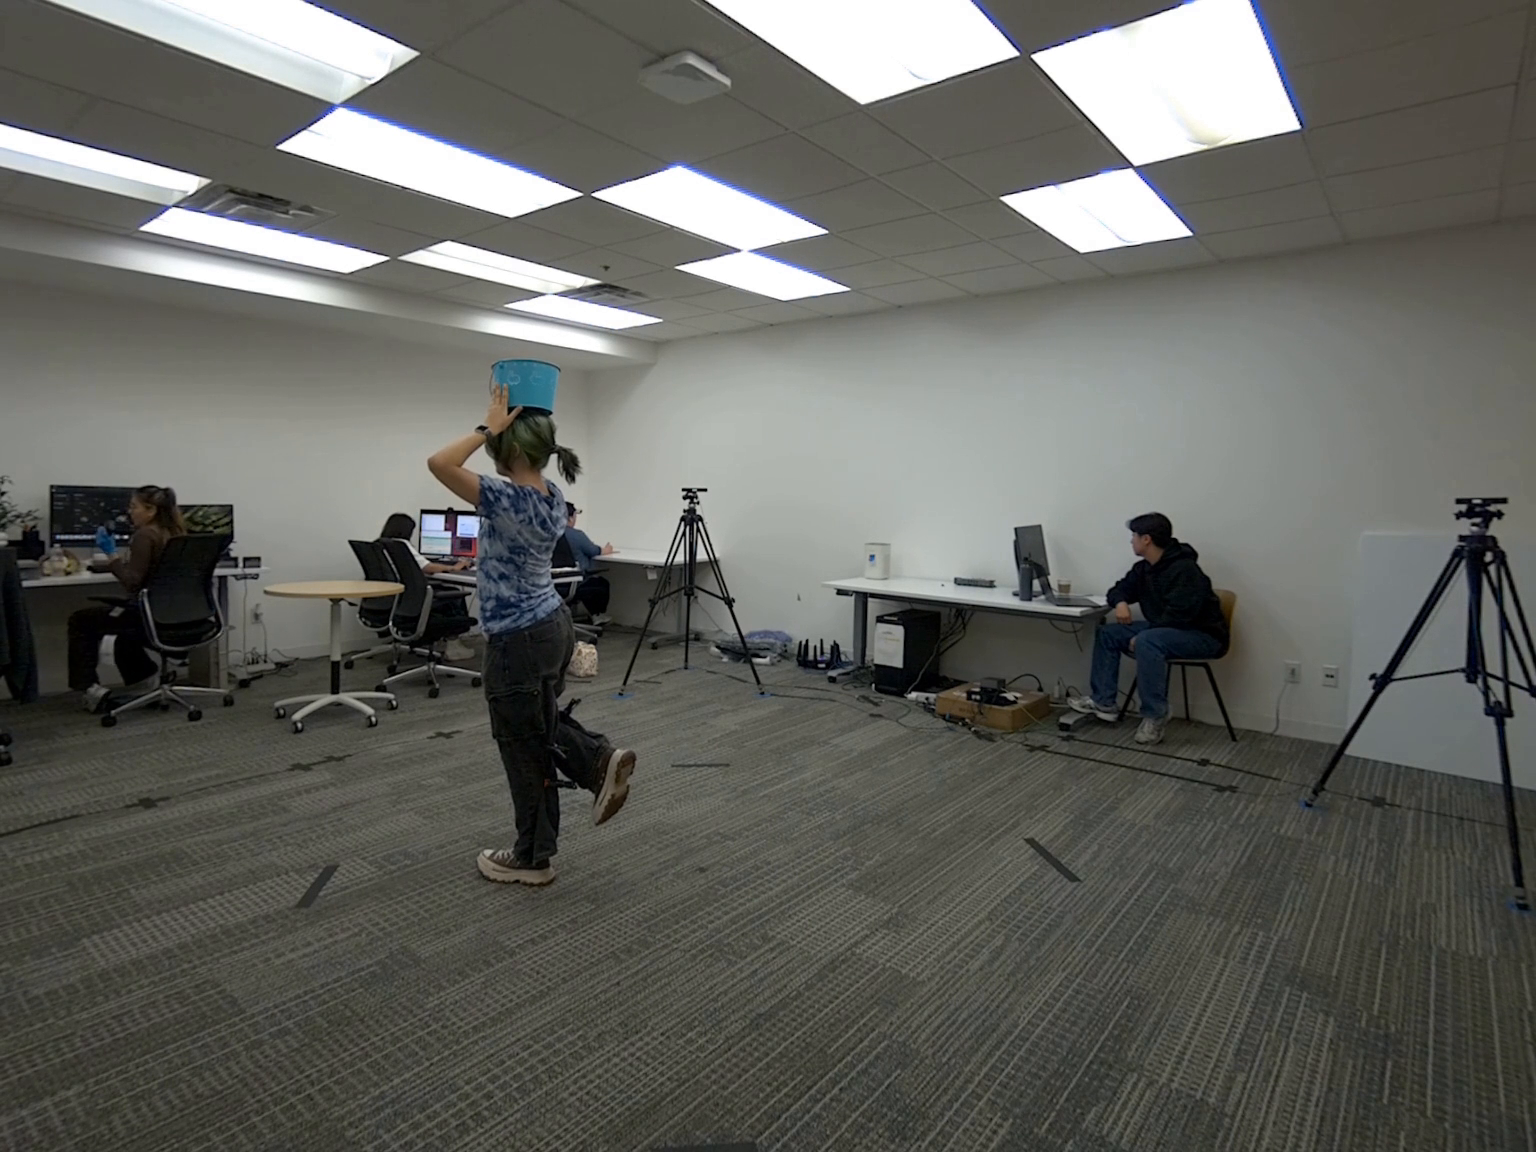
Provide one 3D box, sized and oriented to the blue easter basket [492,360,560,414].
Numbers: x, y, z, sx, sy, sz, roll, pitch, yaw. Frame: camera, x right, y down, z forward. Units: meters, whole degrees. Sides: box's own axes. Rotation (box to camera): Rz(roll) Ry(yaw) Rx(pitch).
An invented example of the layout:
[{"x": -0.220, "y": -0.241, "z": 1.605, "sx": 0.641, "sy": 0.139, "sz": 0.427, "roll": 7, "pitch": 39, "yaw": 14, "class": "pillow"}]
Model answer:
[{"x": -0.840, "y": -0.625, "z": 2.888, "sx": 0.243, "sy": 0.157, "sz": 0.243, "roll": -2, "pitch": -4, "yaw": -2, "class": "blue easter basket"}]
